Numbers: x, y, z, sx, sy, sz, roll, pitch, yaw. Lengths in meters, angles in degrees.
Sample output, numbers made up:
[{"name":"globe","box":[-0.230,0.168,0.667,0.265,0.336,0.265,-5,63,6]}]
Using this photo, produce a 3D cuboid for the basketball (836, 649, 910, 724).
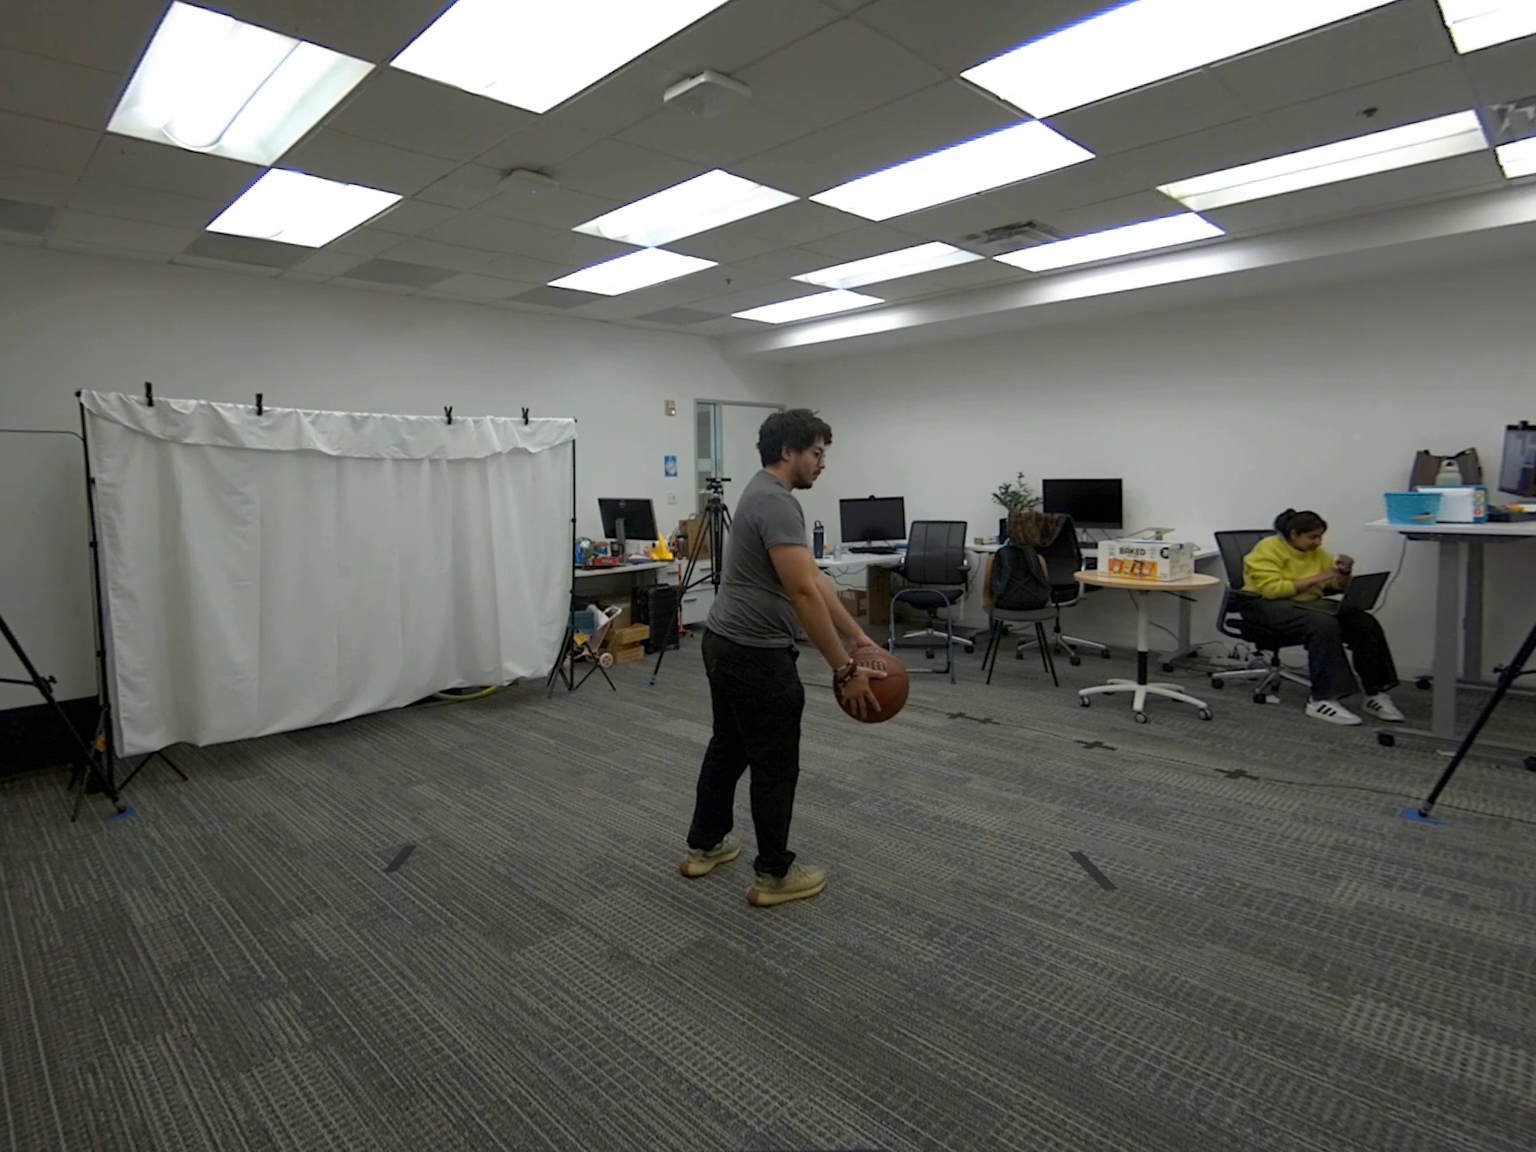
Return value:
[{"name":"basketball","box":[0.322,0.337,2.702,0.236,0.235,0.237,-1,5,-2]}]
